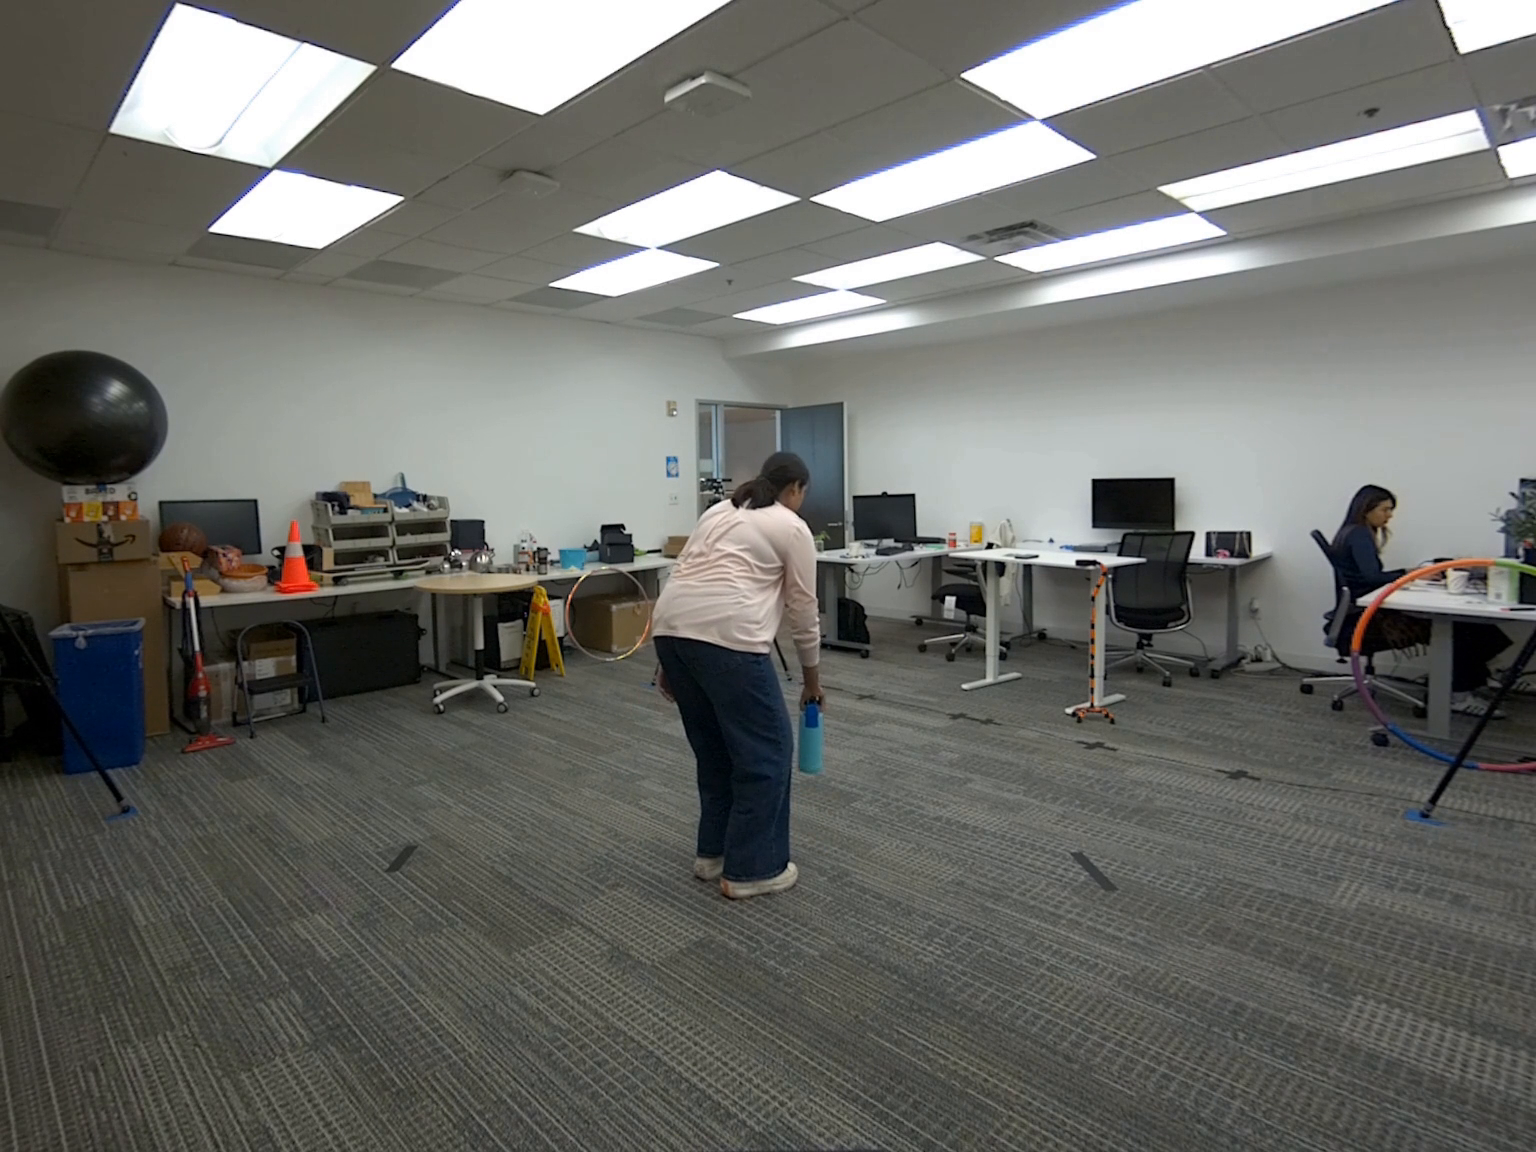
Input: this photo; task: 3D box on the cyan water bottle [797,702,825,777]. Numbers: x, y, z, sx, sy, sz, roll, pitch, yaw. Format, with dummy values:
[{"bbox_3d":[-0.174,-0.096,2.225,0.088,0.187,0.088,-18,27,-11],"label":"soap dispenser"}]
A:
[{"bbox_3d":[0.159,0.585,3.188,0.092,0.281,0.093,-1,7,-2],"label":"cyan water bottle"}]
